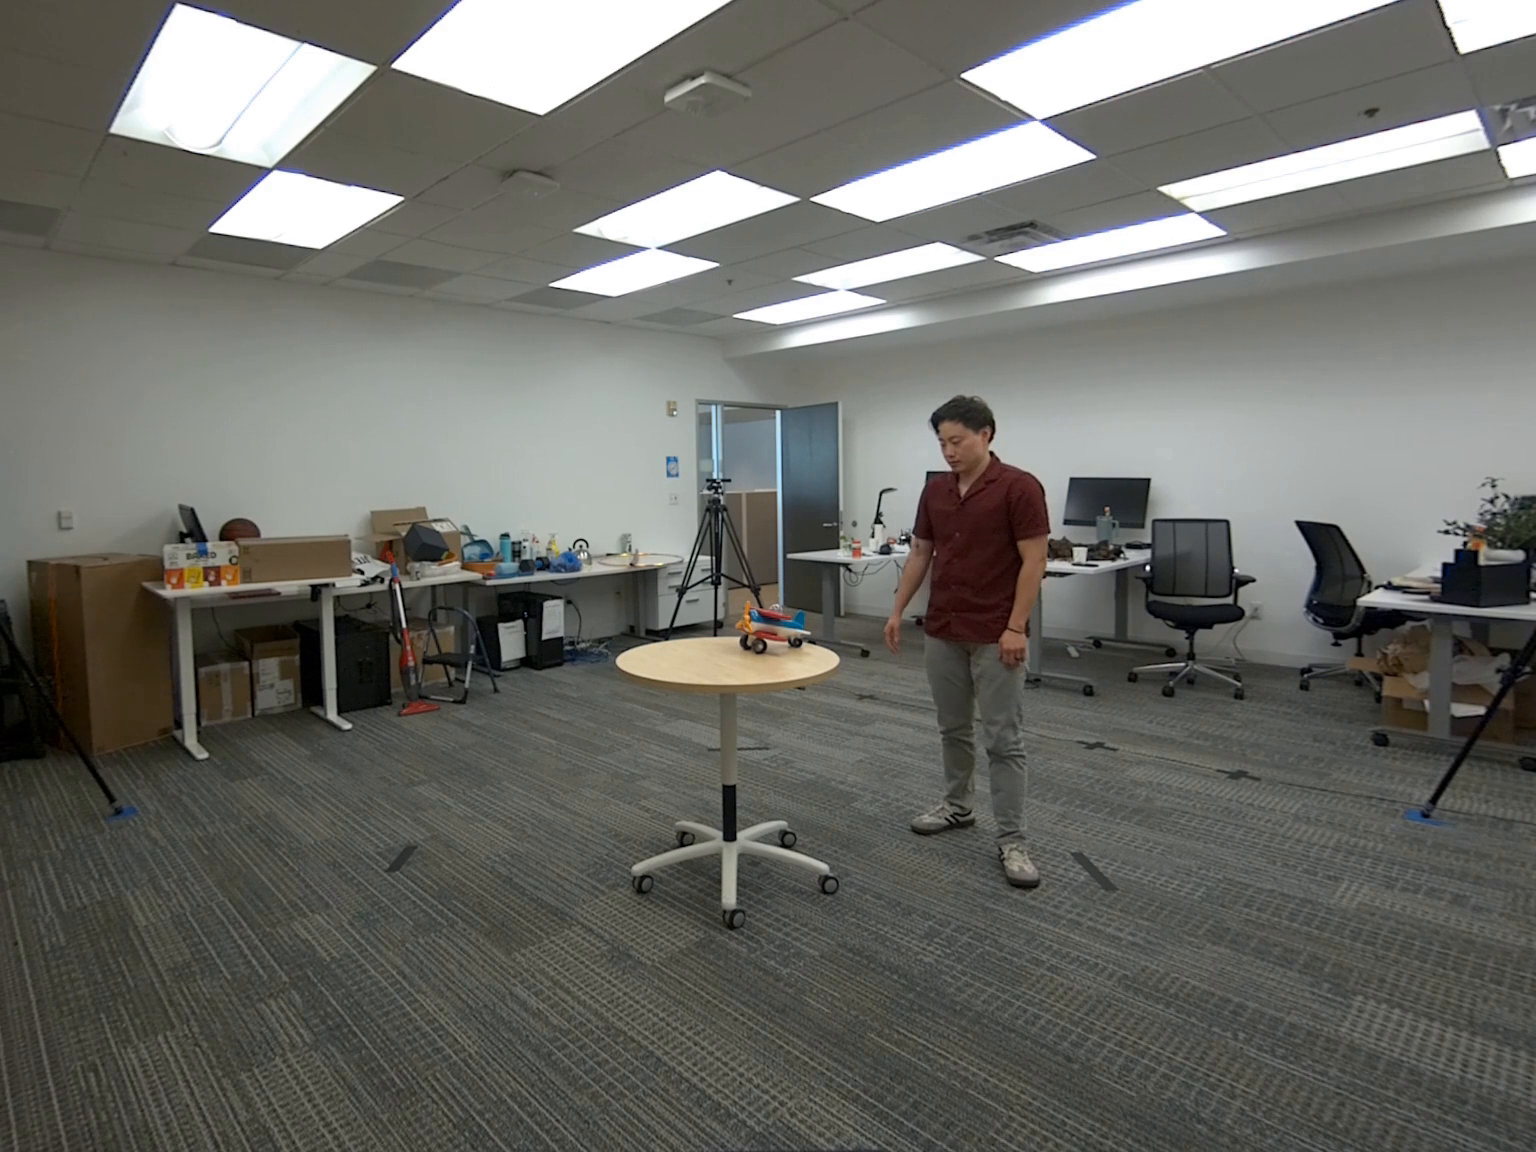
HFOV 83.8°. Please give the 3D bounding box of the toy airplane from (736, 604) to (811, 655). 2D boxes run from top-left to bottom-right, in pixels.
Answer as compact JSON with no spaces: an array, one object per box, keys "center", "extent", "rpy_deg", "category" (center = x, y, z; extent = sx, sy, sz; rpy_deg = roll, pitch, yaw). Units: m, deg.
[{"center":[0.014,0.186,3.092],"extent":[0.258,0.155,0.253],"rpy_deg":[4,8,33],"category":"toy airplane"}]
